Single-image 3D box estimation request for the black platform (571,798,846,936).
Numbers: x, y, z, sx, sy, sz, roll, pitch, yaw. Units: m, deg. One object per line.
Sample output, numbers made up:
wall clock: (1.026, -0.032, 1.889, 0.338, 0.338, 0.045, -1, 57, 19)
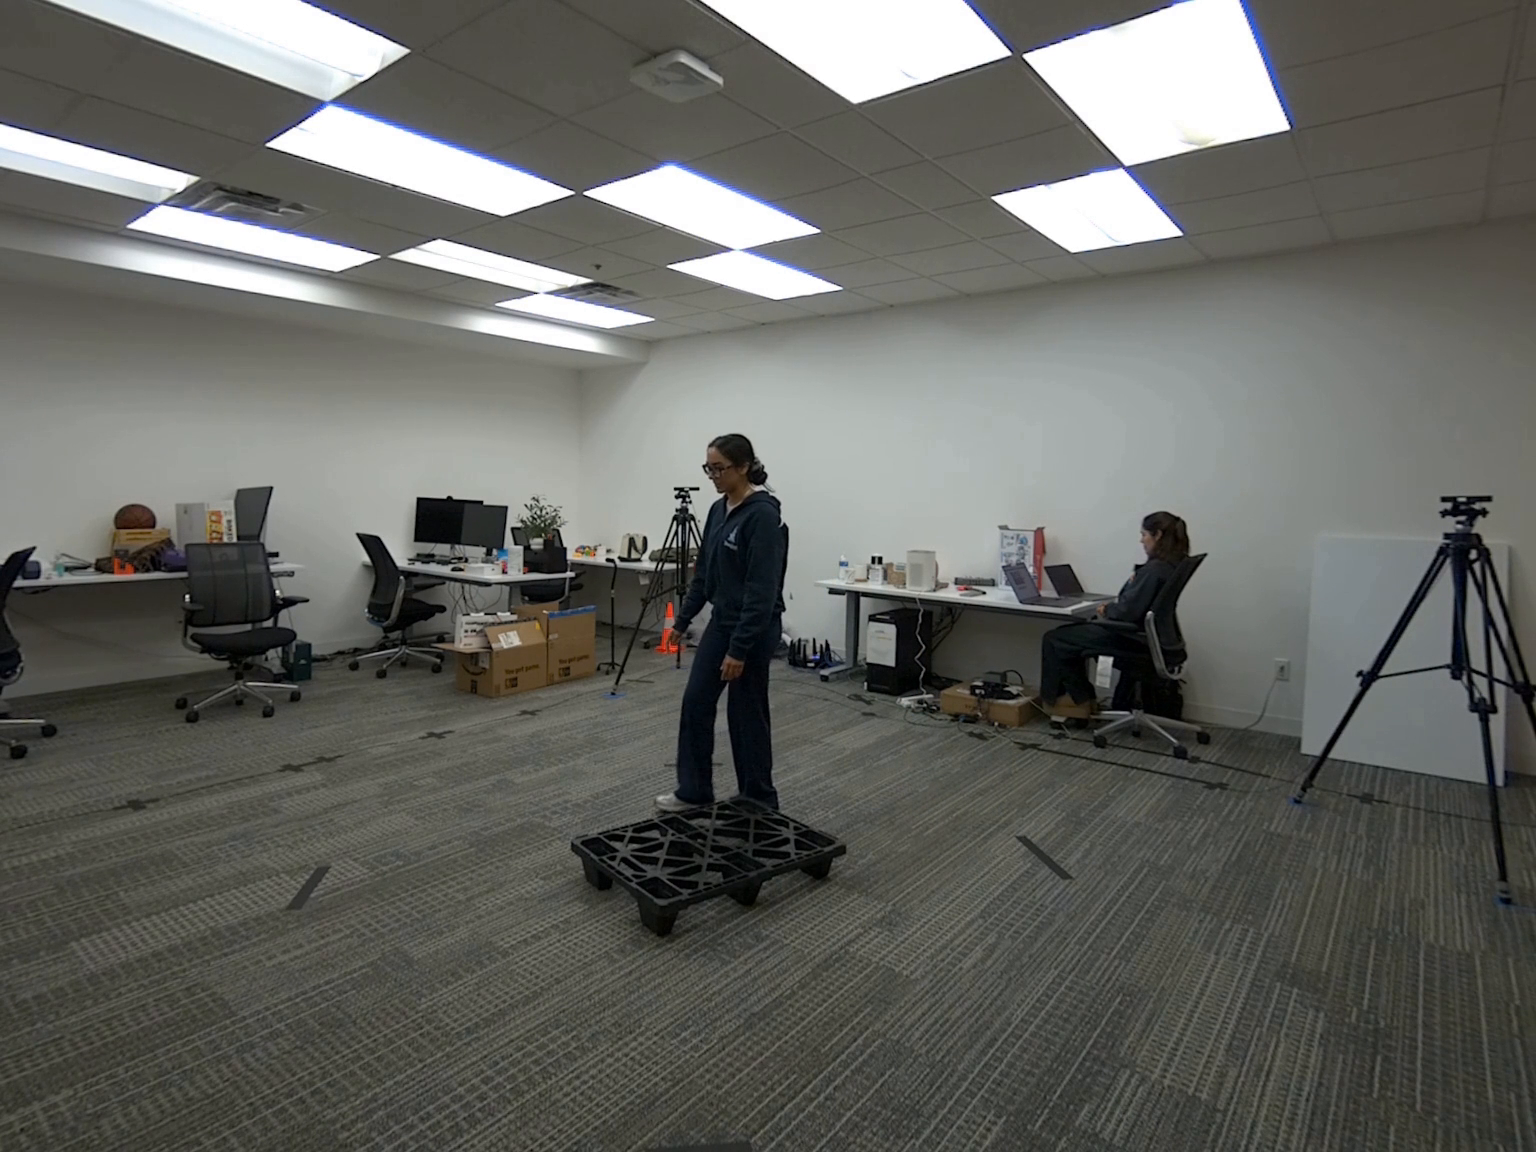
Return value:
black platform: (-0.218, 1.009, 3.028, 0.782, 0.143, 0.626, -4, 8, -38)
